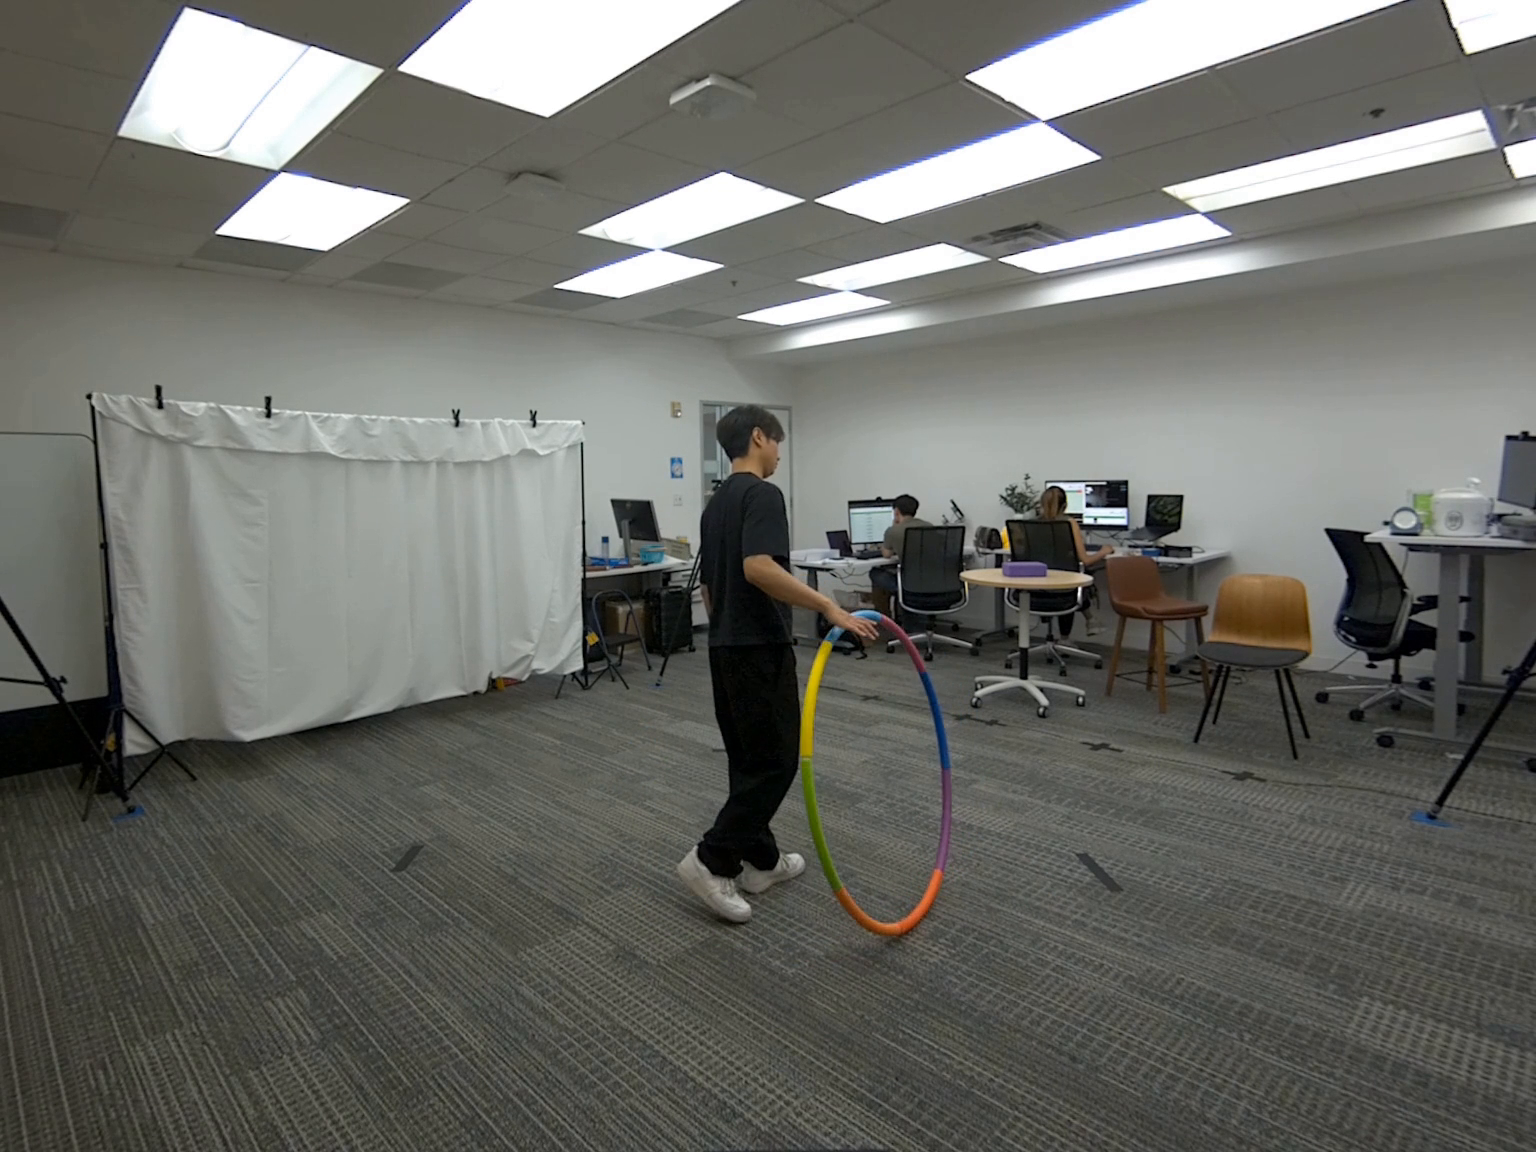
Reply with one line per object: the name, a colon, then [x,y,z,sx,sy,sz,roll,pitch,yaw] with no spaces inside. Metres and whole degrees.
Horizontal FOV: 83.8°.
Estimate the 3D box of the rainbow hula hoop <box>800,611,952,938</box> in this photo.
rainbow hula hoop: [0.374,0.604,2.720,0.036,0.982,0.956,-13,-3,33]
